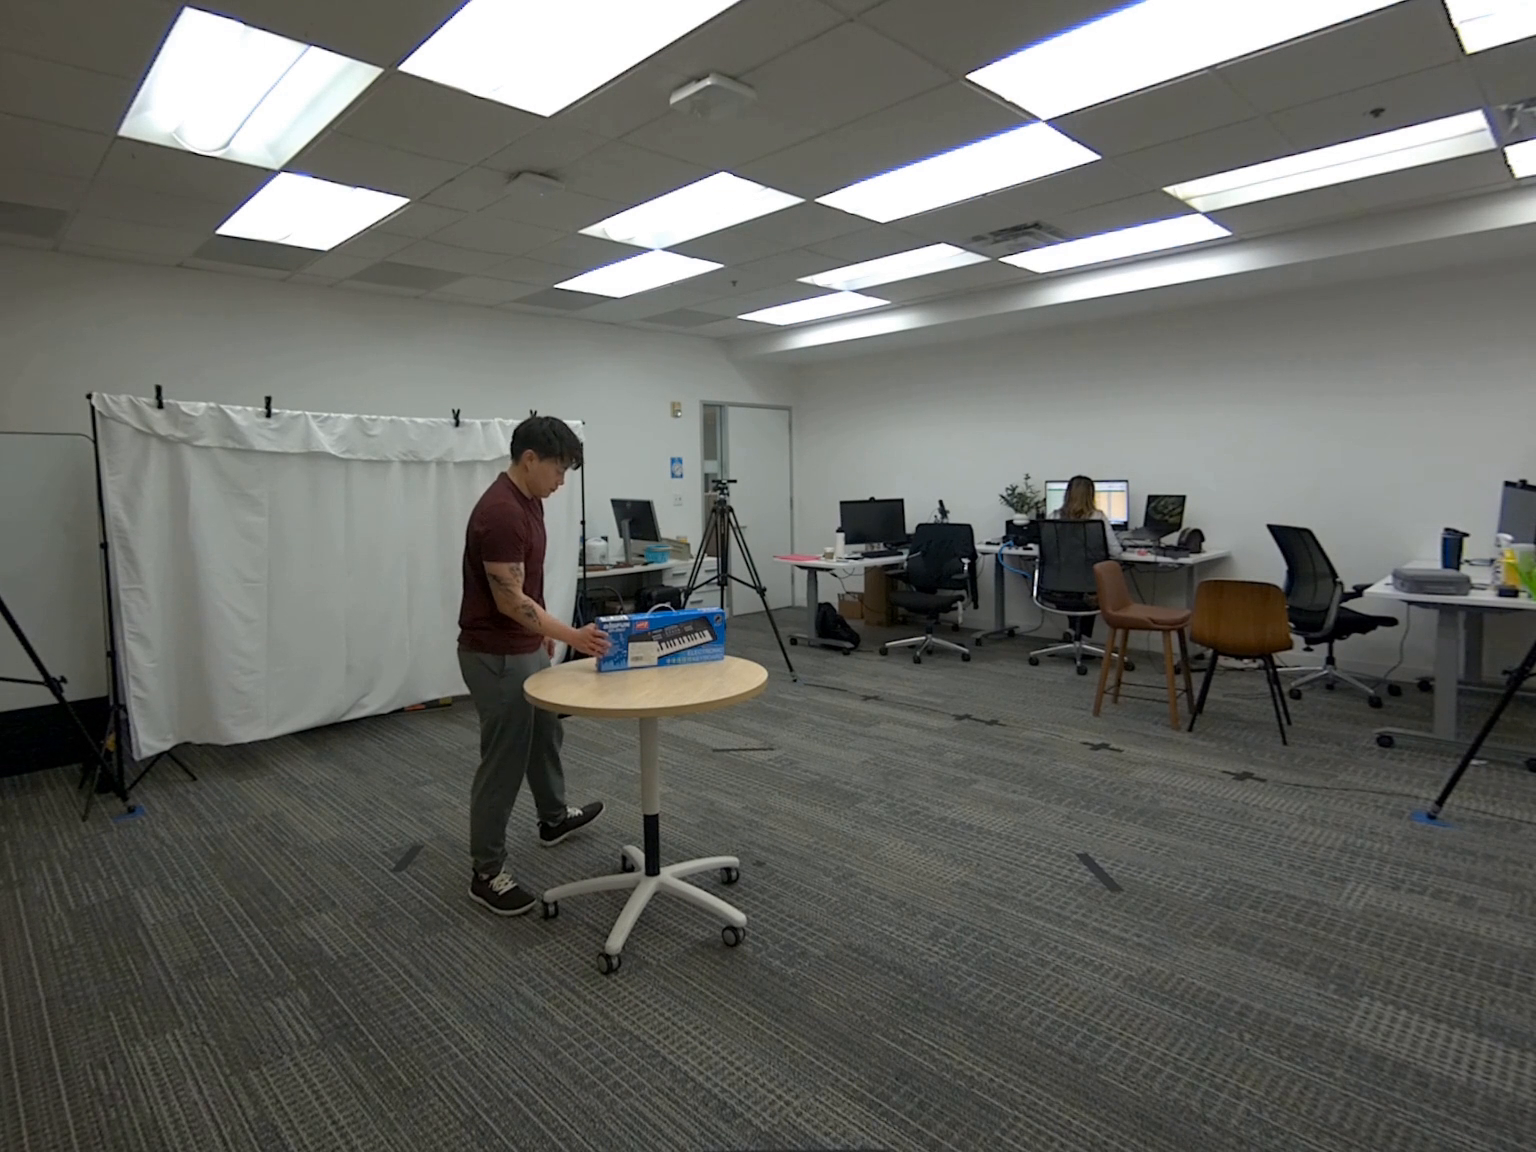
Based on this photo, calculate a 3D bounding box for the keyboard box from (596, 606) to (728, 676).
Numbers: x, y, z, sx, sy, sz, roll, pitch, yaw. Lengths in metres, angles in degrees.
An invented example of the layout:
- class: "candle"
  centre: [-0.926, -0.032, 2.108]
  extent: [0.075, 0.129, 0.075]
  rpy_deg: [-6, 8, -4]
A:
- class: "keyboard box"
  centre: [-0.352, 0.212, 2.861]
  extent: [0.429, 0.174, 0.061]
  rpy_deg: [-4, 12, -21]
